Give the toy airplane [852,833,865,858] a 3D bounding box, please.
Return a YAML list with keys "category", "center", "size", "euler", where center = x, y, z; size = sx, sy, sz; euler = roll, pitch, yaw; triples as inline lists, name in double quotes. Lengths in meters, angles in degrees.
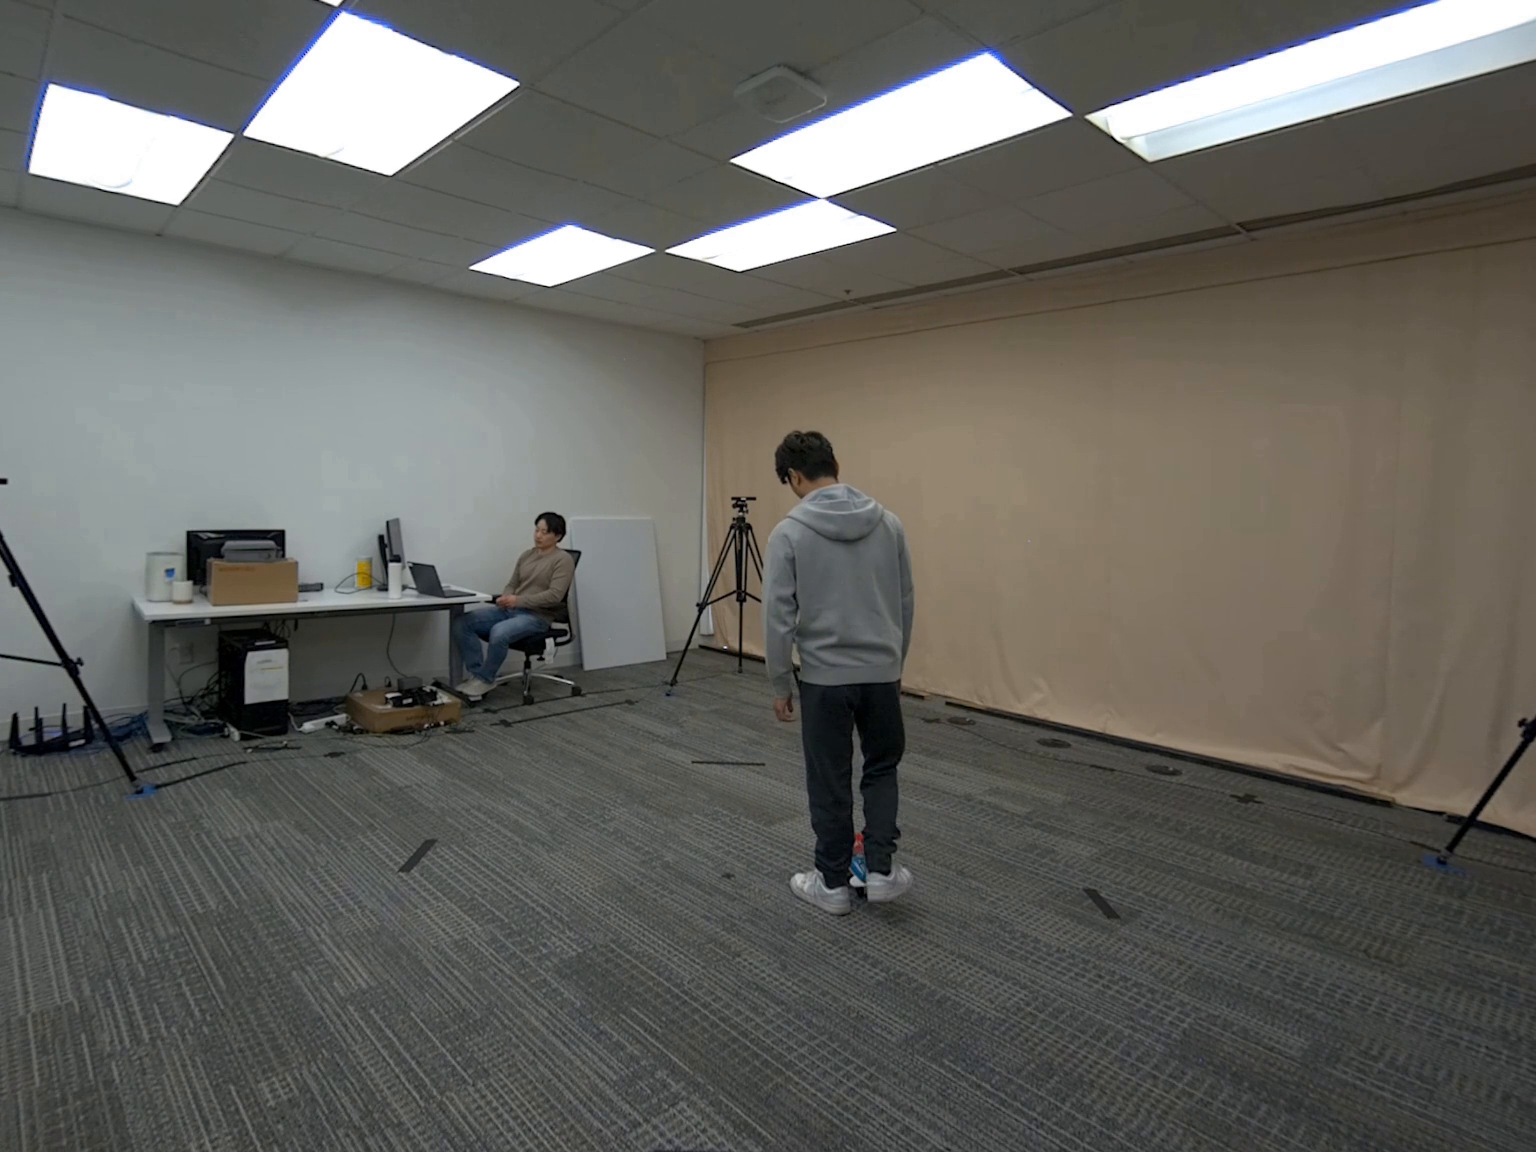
- category: "toy airplane"
  center: [0.325, 1.052, 3.058]
  size: [0.245, 0.156, 0.266]
  euler: [-2, 5, -39]
